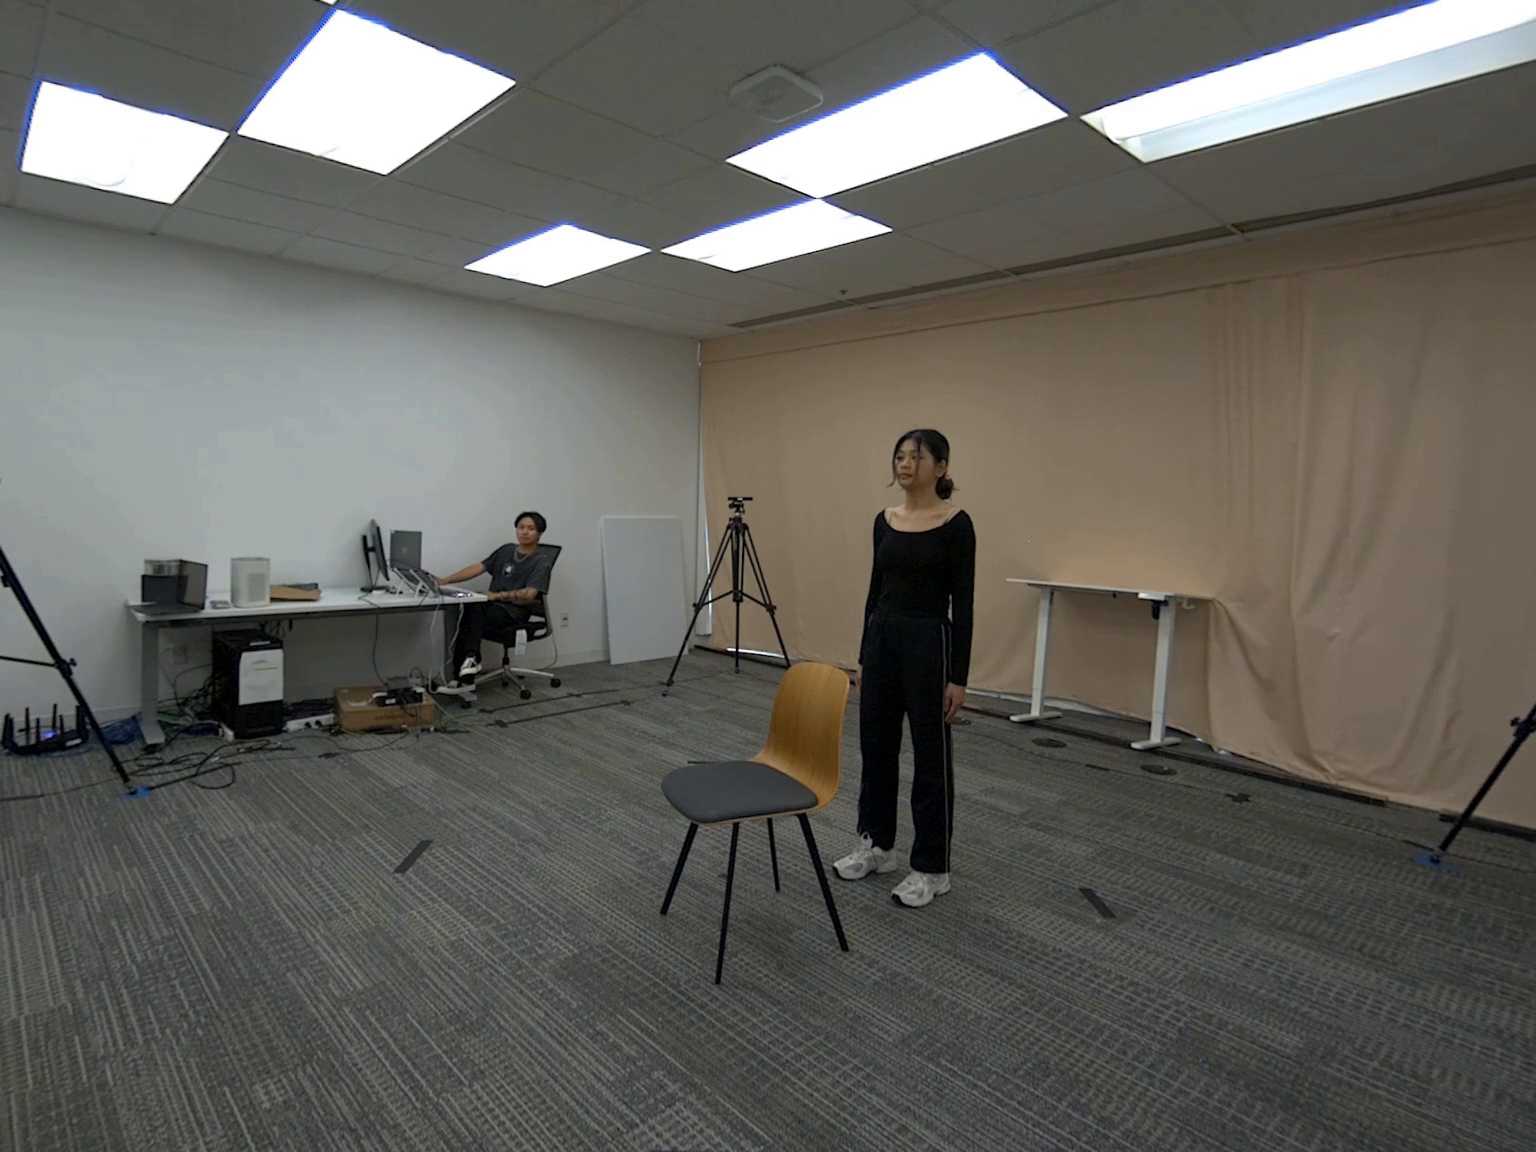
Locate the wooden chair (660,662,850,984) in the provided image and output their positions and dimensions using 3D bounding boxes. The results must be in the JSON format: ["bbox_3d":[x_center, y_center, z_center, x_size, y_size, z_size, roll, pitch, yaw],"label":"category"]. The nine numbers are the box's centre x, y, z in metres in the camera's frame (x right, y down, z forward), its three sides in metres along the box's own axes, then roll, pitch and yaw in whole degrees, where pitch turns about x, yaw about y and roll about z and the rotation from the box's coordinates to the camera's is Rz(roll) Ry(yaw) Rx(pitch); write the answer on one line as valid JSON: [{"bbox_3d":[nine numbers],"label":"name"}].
[{"bbox_3d":[-0.053,0.725,2.670,0.512,0.876,0.488,5,2,-27],"label":"wooden chair"}]
